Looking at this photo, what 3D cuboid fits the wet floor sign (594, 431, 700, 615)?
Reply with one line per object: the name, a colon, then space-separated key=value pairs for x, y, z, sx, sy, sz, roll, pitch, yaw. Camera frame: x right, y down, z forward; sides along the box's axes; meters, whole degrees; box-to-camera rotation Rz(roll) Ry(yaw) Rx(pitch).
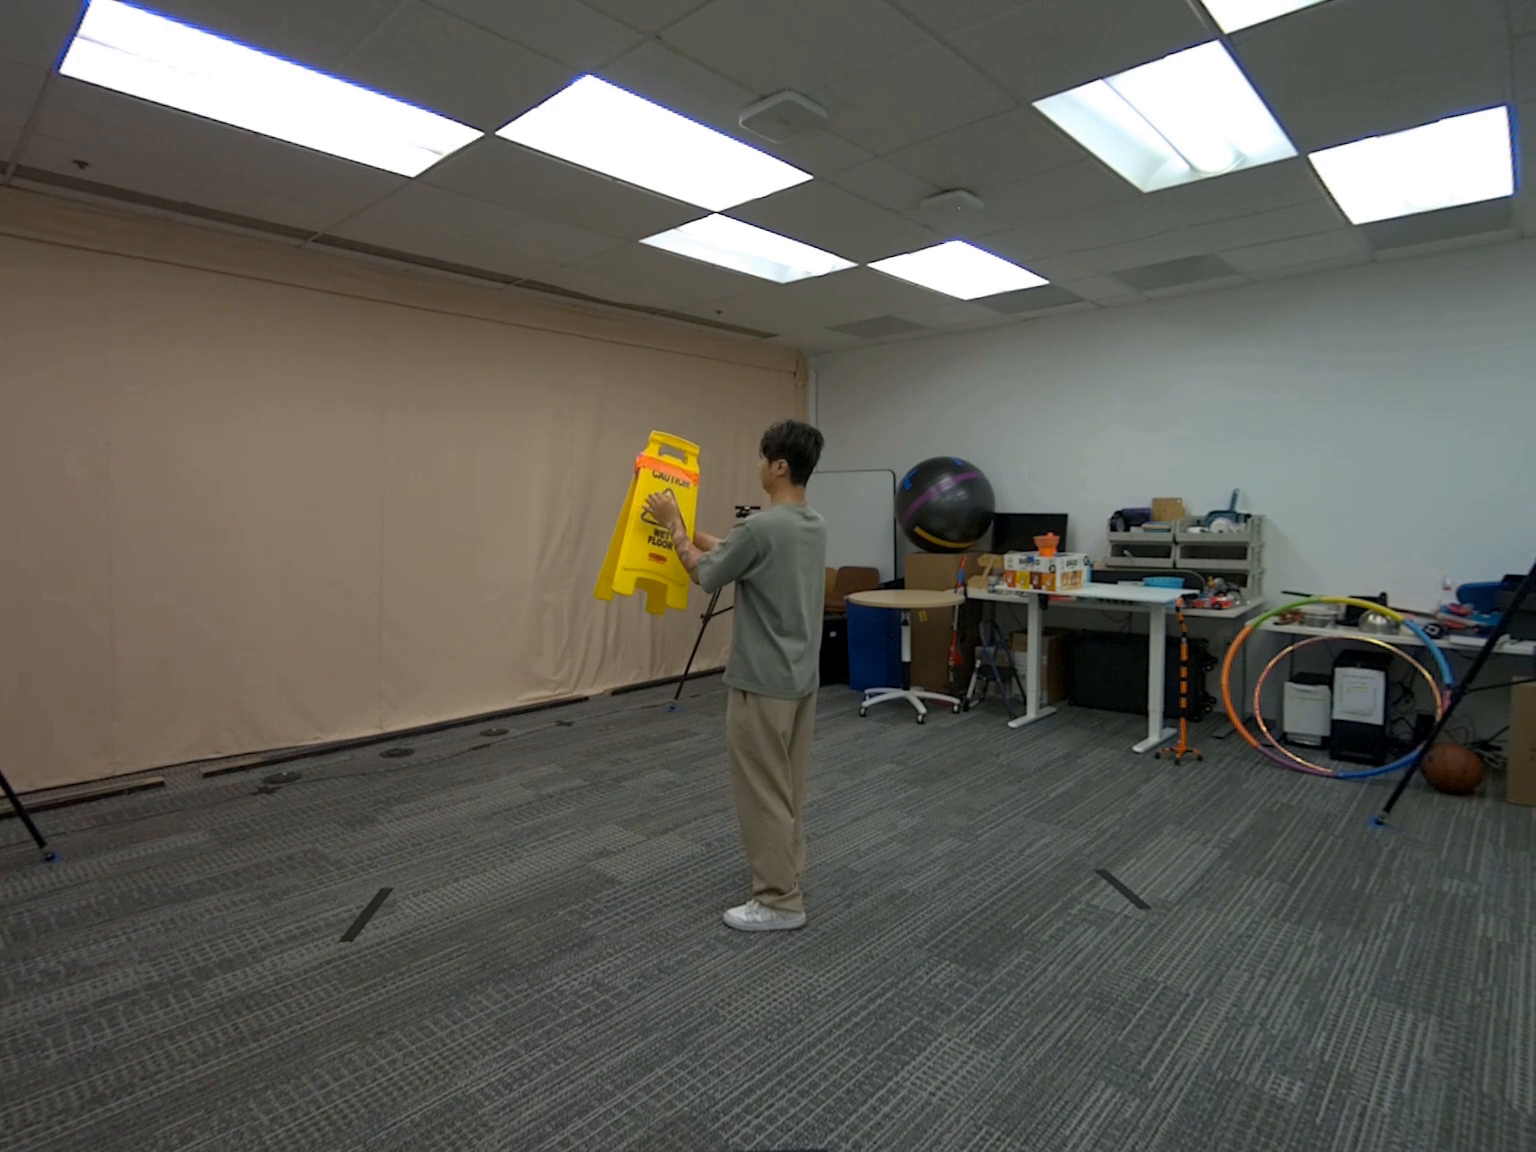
wet floor sign: x=-0.404 y=-0.207 z=3.114 sx=0.276 sy=0.649 sz=0.295 roll=16 pitch=-13 yaw=-21
